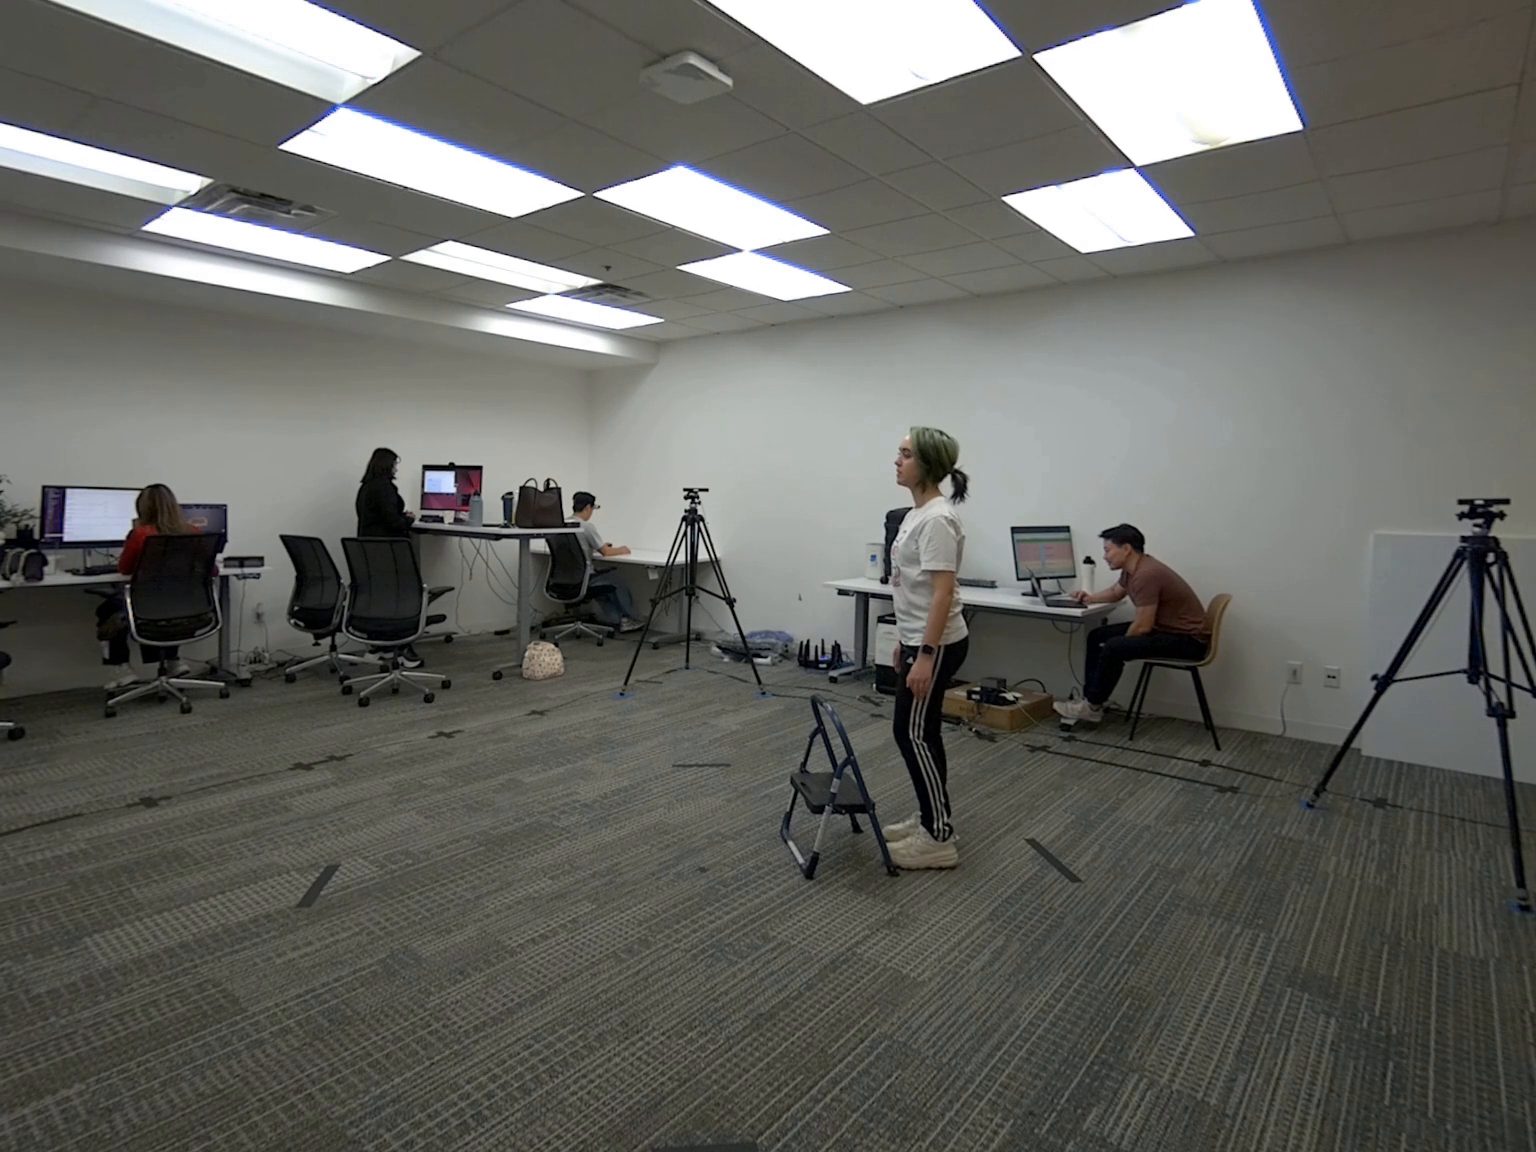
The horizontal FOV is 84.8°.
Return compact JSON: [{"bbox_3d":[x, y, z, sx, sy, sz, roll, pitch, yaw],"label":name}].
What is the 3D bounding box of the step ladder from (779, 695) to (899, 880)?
[{"bbox_3d":[0.258,0.767,3.255,0.345,0.604,0.437,0,3,-12],"label":"step ladder"}]
